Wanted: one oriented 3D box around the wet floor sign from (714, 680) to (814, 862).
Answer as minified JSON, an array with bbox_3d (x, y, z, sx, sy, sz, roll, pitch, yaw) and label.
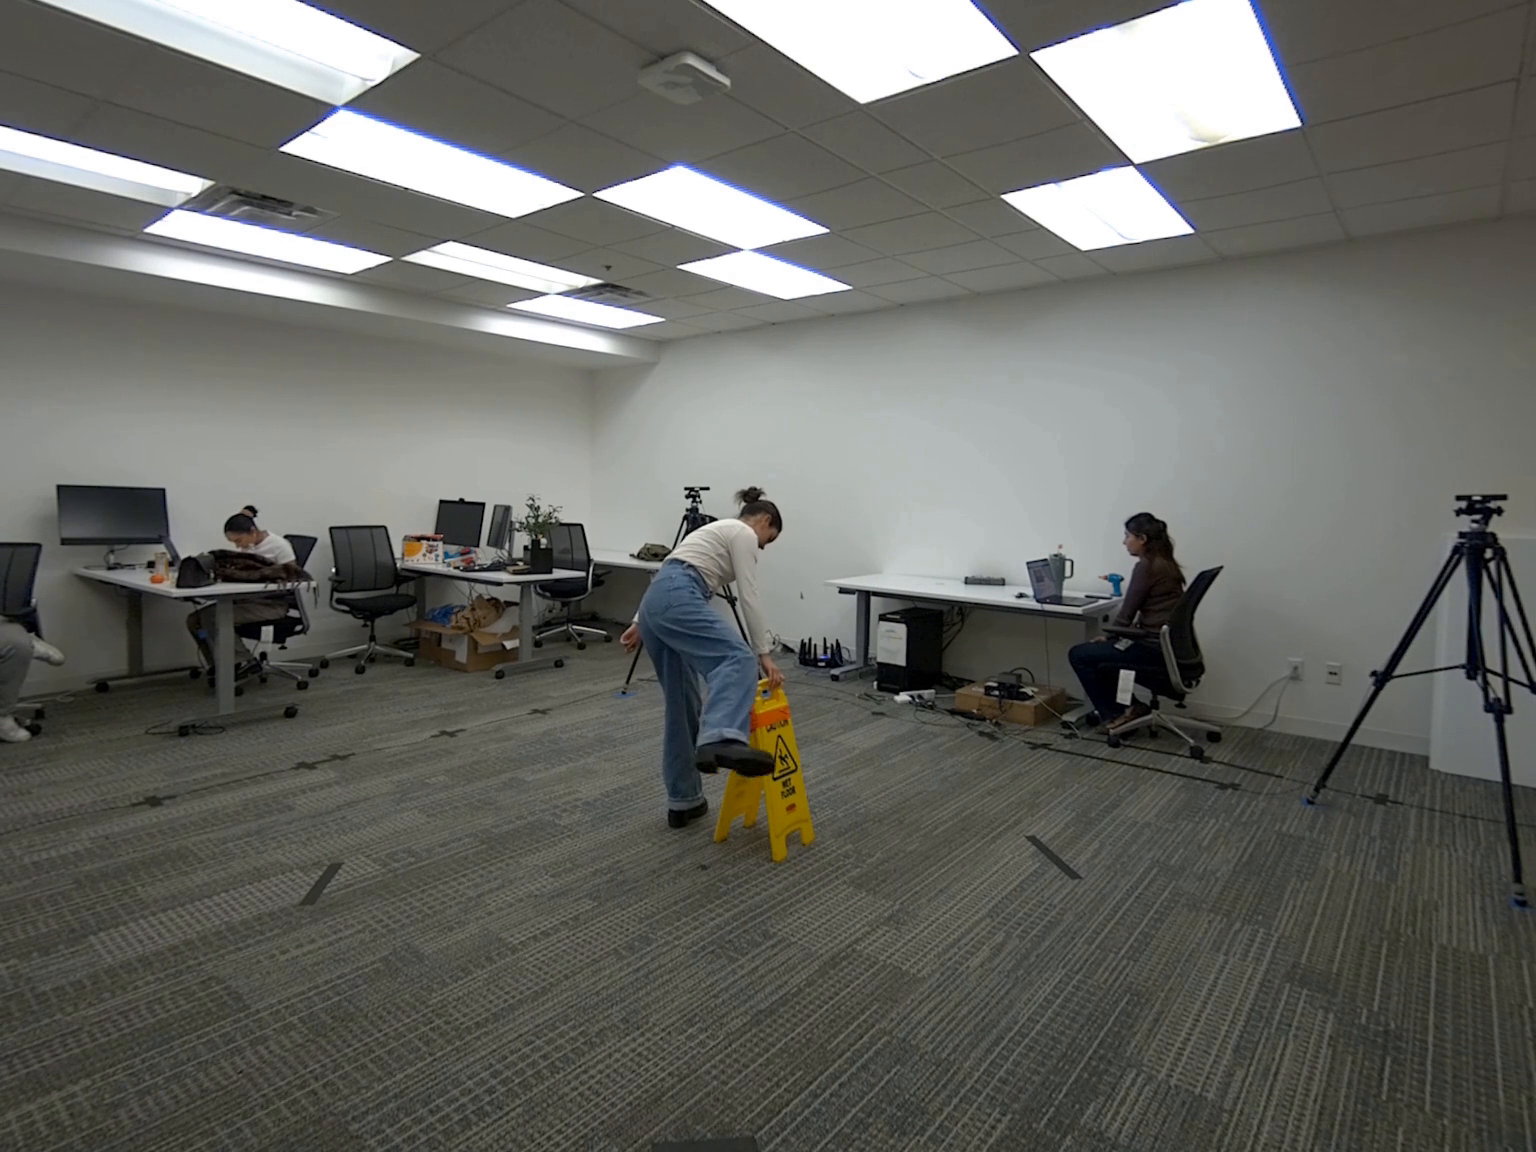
[{"bbox_3d":[-0.012,0.724,3.345,0.299,0.644,0.274,3,4,36],"label":"wet floor sign"}]
